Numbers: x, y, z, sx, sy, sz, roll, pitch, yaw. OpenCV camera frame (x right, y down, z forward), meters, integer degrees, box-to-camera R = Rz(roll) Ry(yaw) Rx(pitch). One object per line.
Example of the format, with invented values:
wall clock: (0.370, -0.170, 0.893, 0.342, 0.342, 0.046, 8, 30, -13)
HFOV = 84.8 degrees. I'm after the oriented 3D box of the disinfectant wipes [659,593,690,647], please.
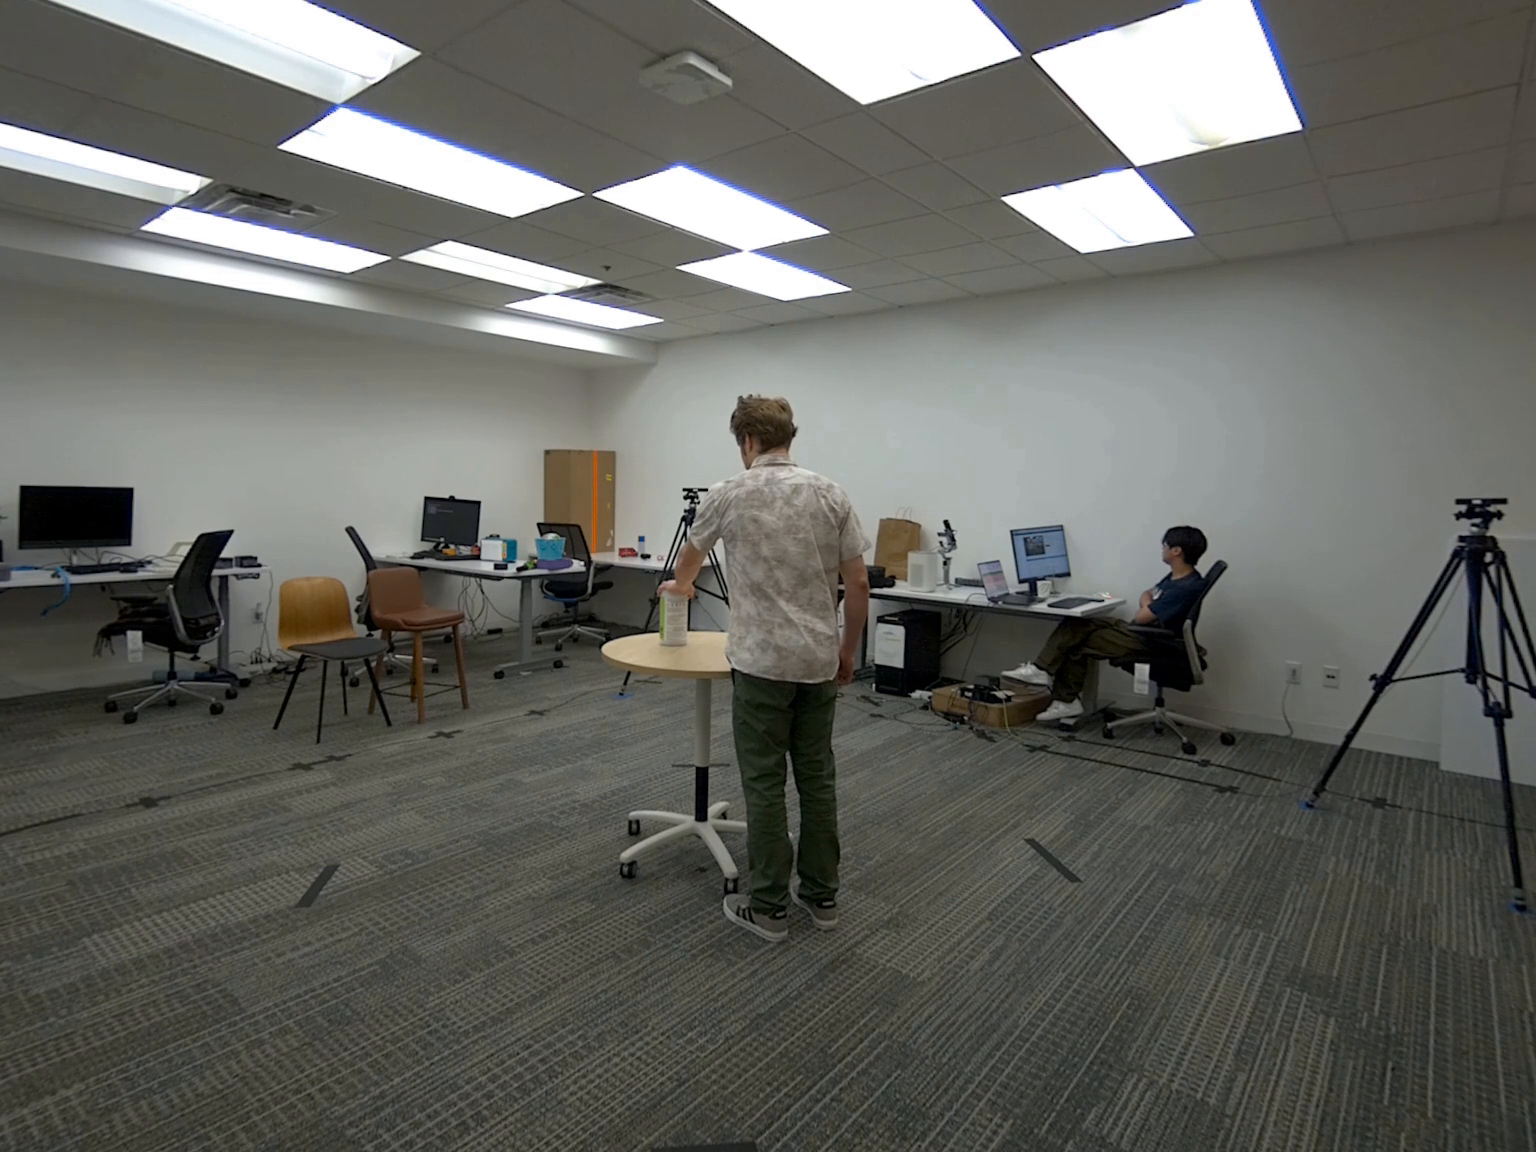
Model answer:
disinfectant wipes: (-0.371, 0.154, 3.273, 0.118, 0.217, 0.118, 0, 4, -2)
